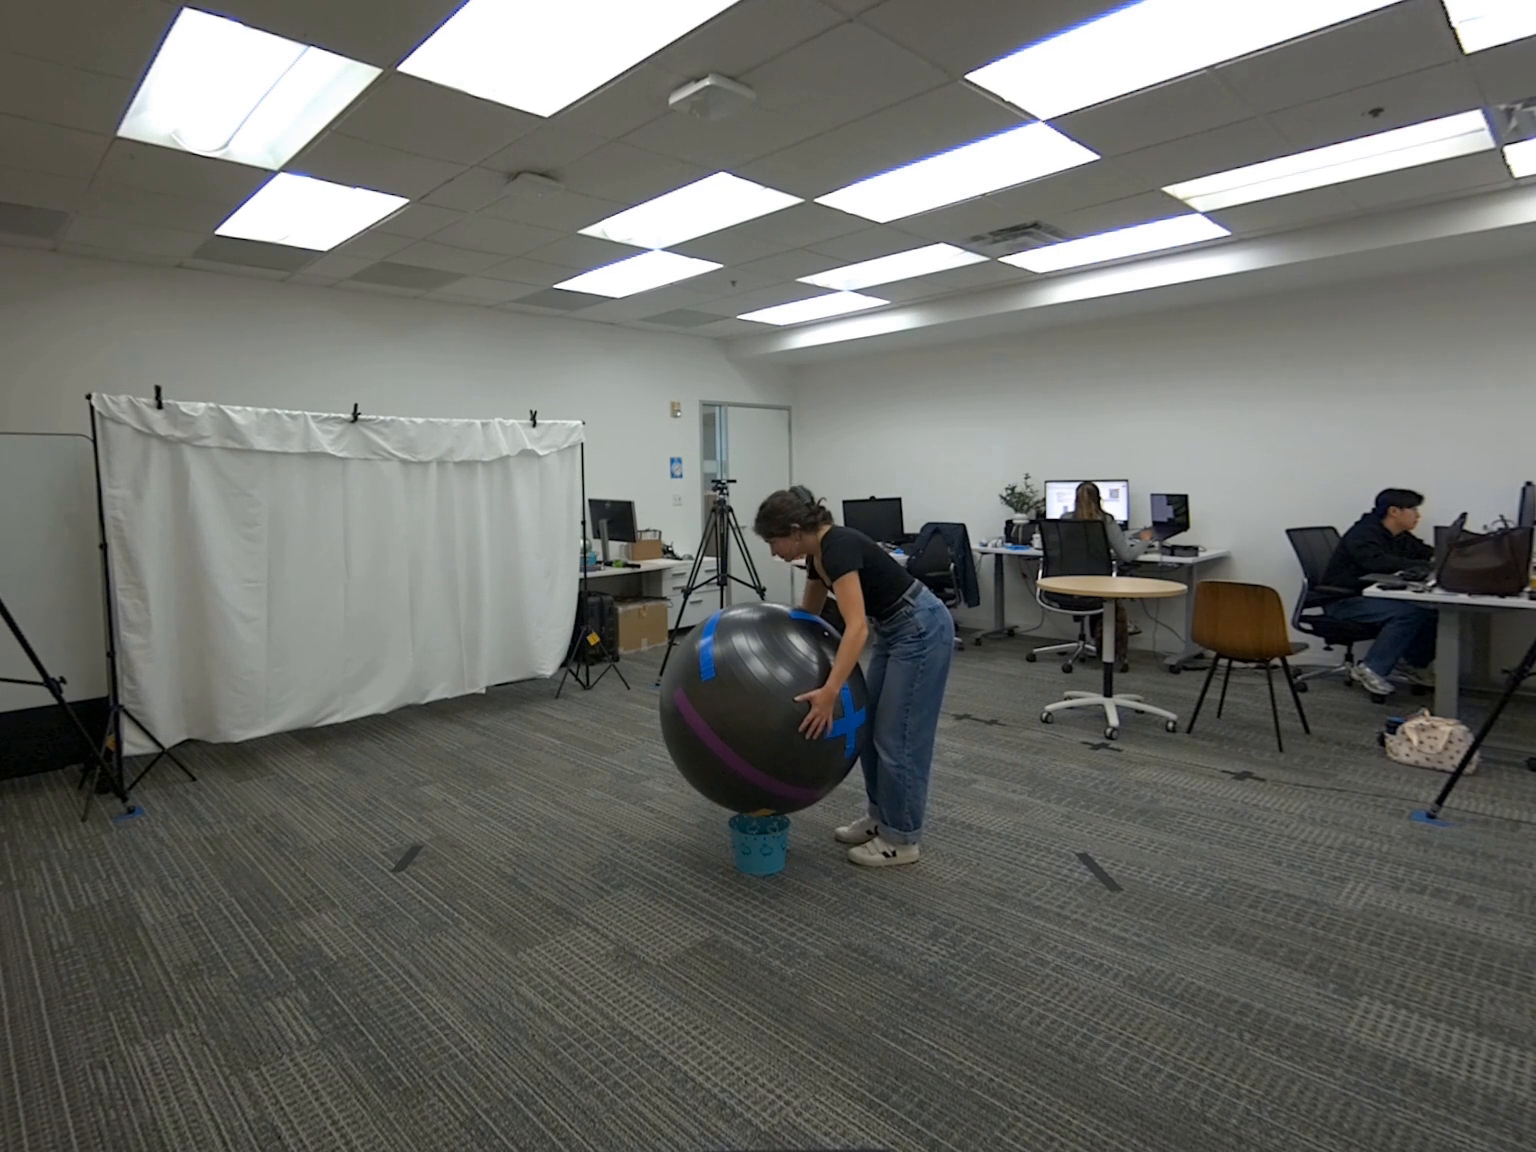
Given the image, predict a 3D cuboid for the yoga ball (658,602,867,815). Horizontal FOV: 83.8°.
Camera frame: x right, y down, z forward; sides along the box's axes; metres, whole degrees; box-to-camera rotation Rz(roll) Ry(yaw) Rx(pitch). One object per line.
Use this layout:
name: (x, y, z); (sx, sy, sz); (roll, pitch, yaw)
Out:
yoga ball: (-0.022, 0.466, 3.098); (0.757, 0.755, 0.762); (-1, 5, -2)
